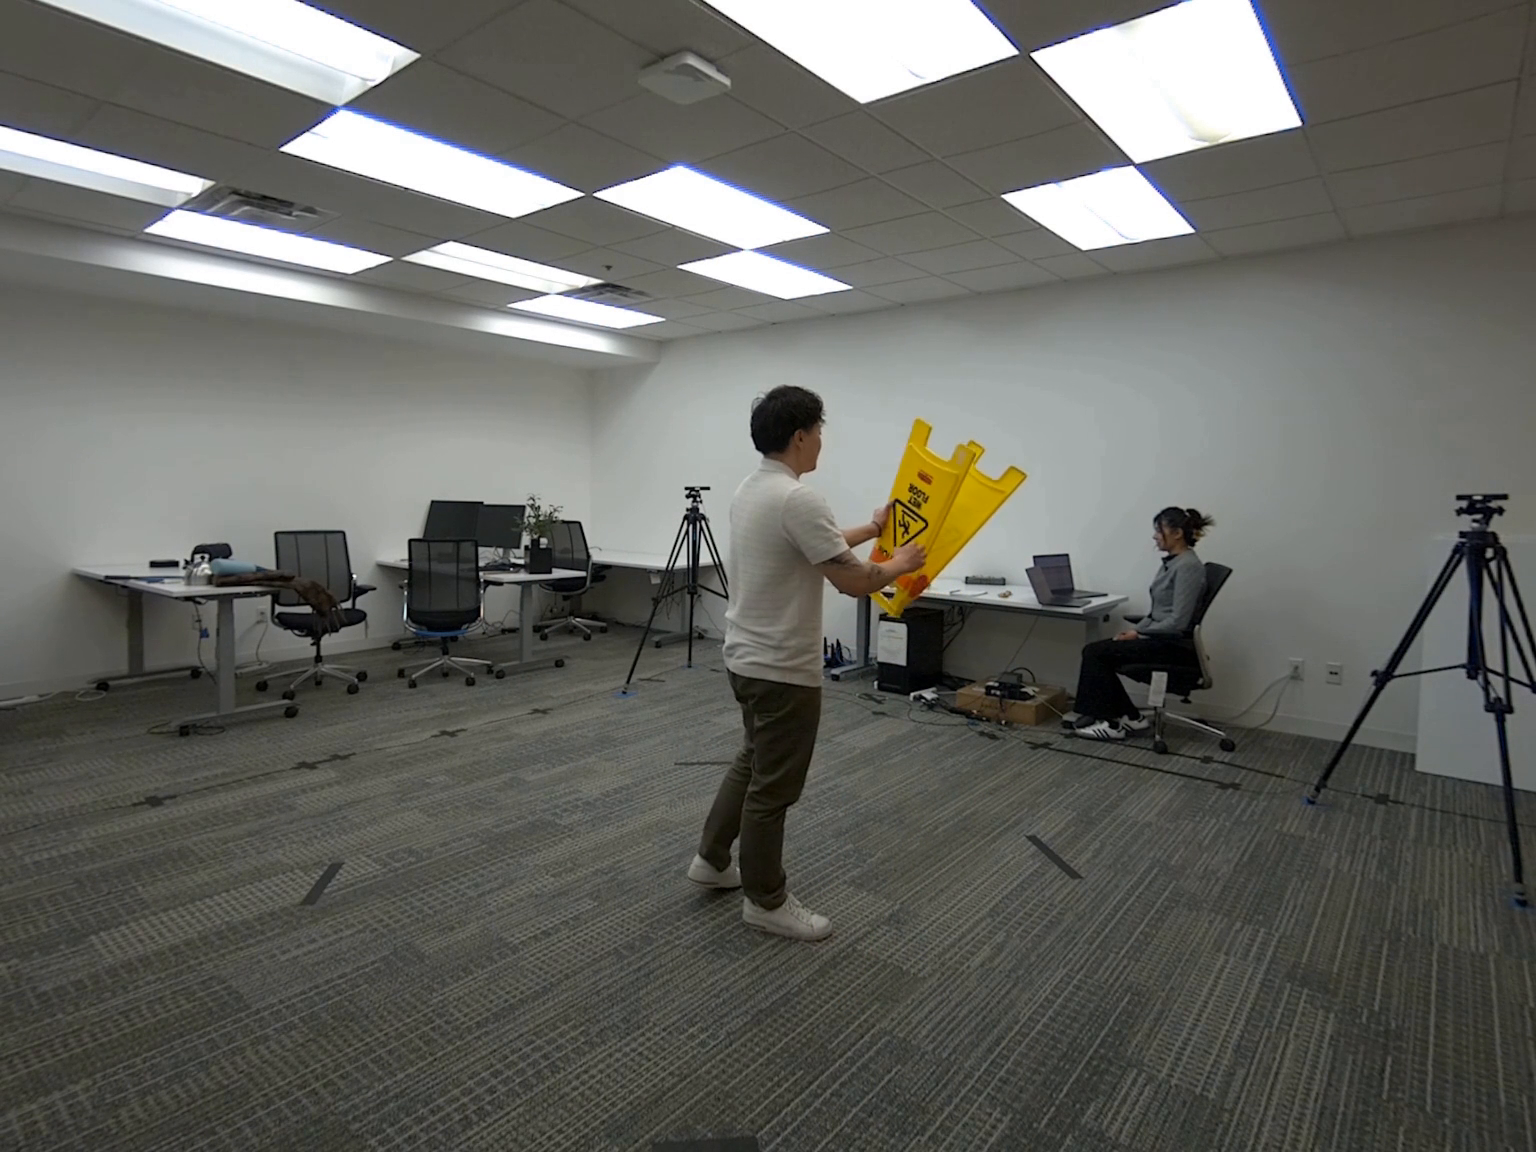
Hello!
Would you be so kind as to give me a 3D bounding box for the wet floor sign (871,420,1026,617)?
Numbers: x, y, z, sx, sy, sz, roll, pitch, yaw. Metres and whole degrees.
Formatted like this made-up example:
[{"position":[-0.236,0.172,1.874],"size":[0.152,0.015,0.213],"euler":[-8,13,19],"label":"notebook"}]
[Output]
[{"position":[0.533,-0.168,2.944],"size":[0.279,0.642,0.294],"euler":[14,22,-39],"label":"wet floor sign"}]
